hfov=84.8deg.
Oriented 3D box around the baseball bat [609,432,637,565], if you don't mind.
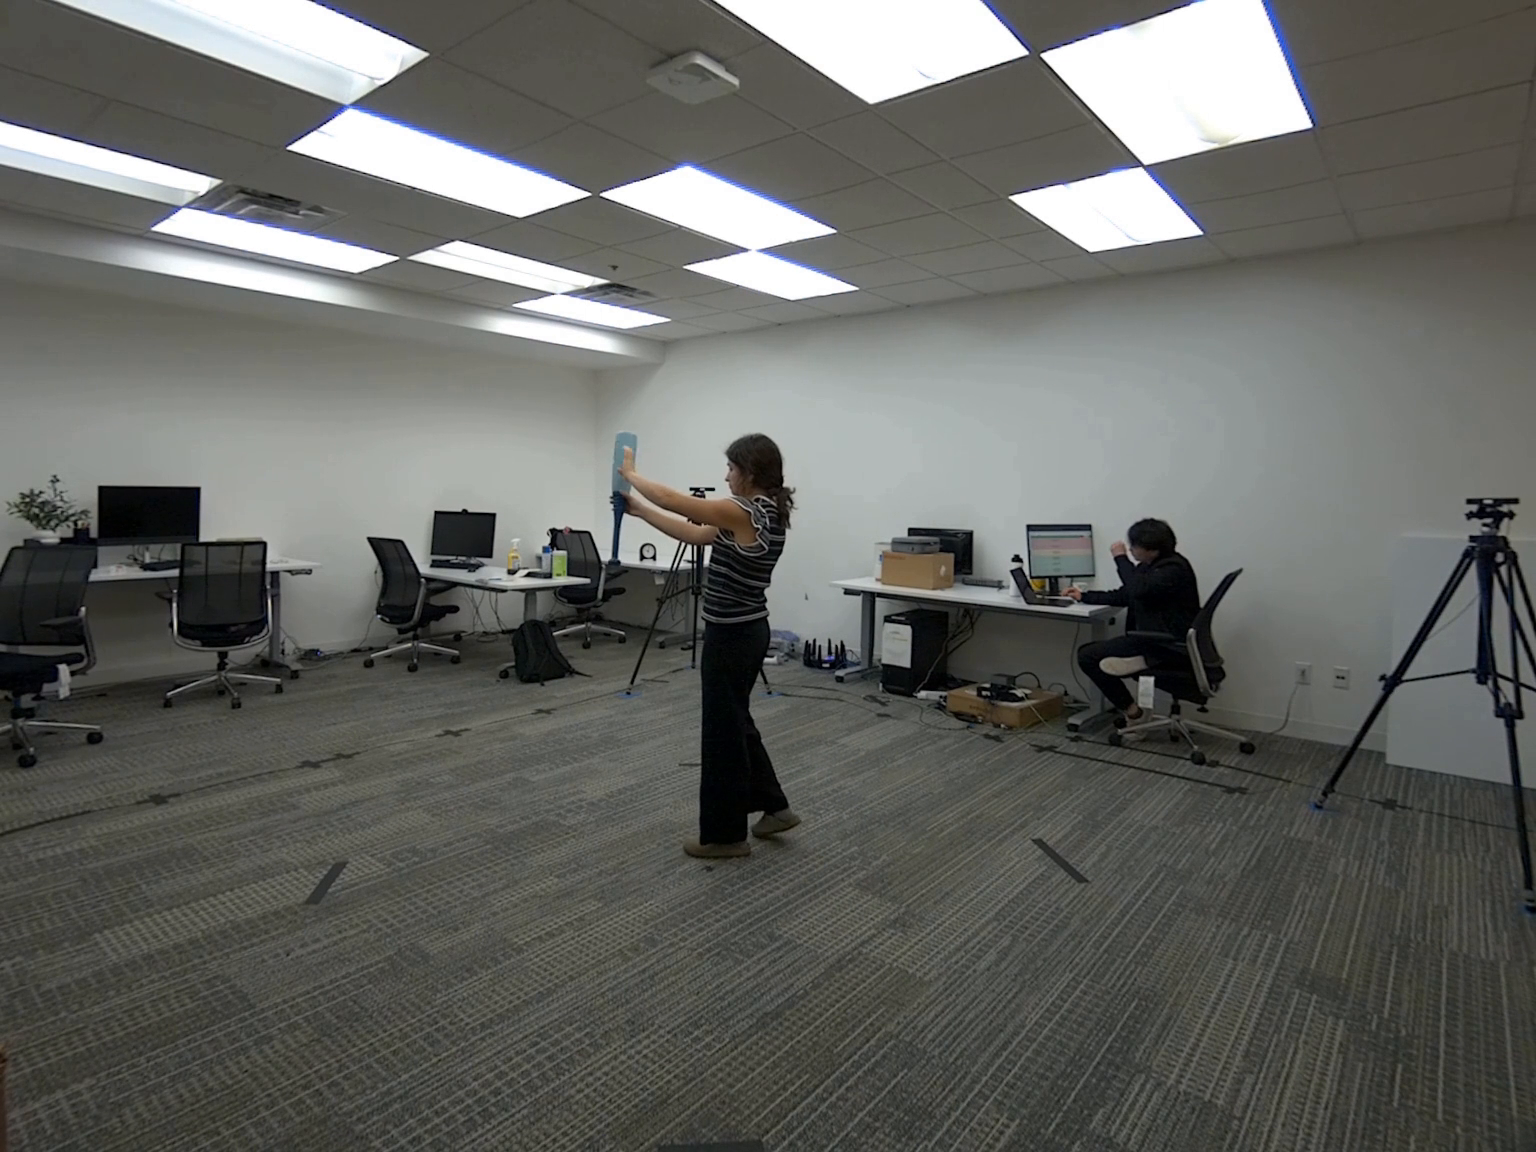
[{"bbox_3d":[-0.600,-0.311,3.380,0.089,0.548,0.088,1,-10,-2],"label":"baseball bat"}]
